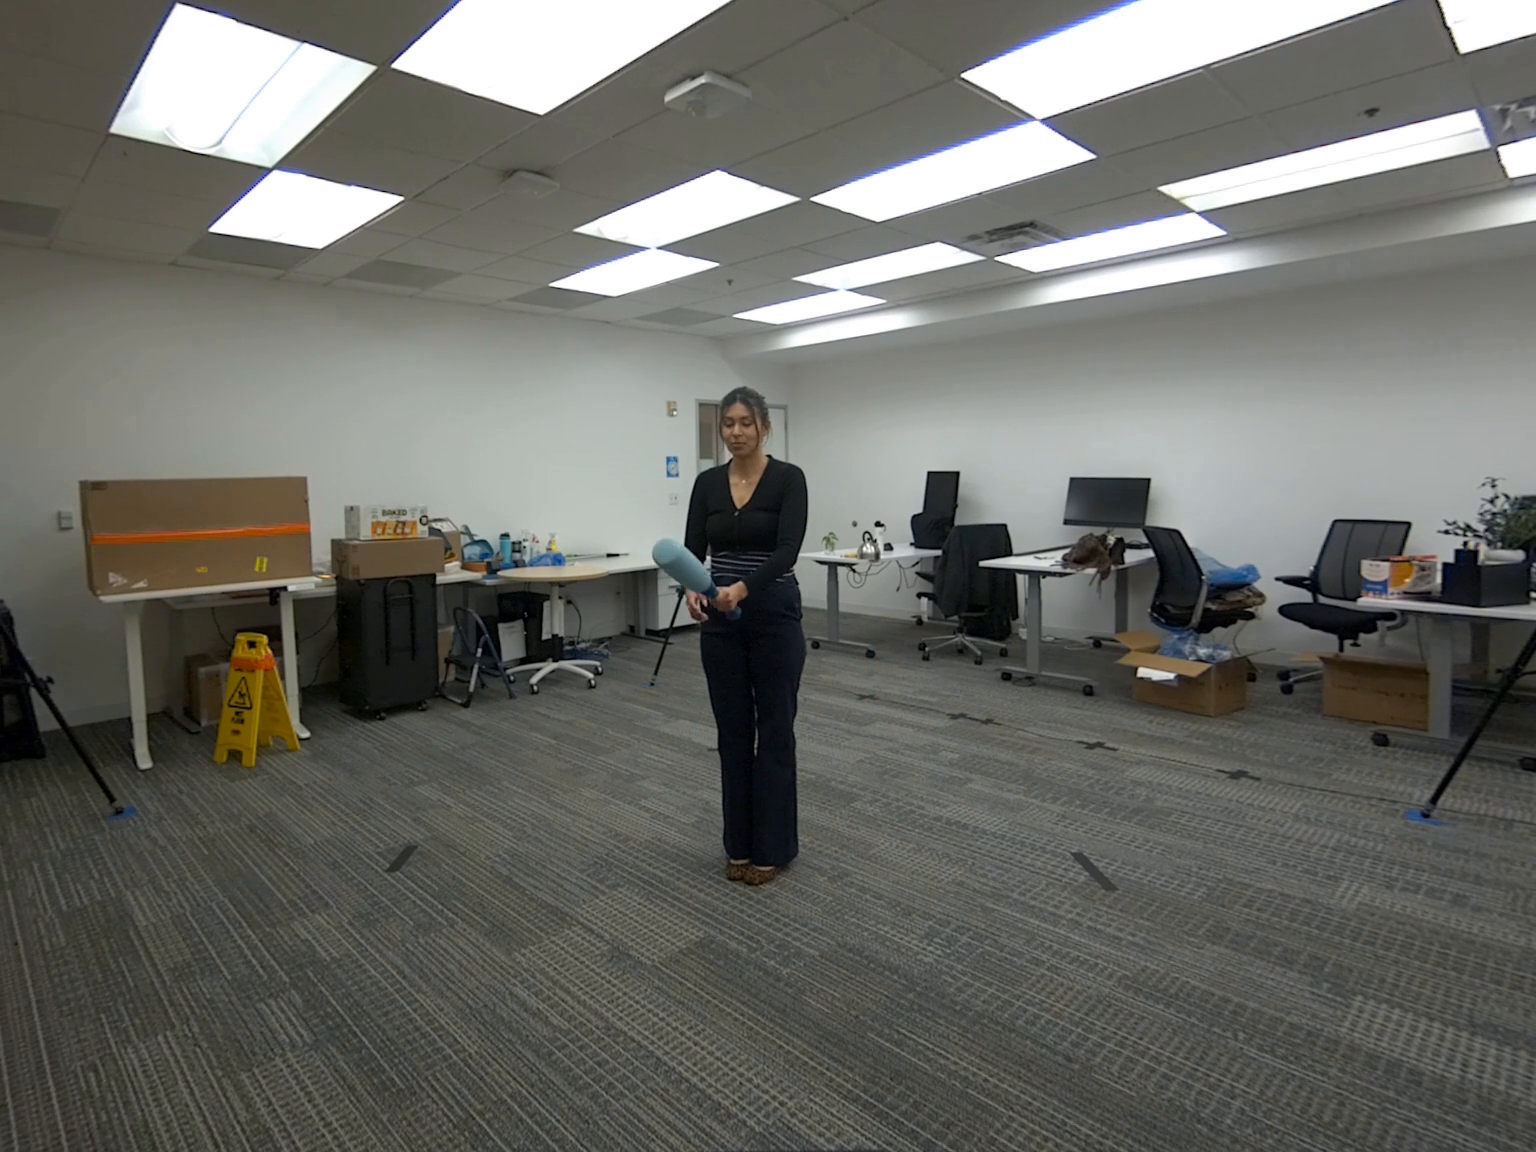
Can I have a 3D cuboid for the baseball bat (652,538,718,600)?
[{"bbox_3d":[-0.185,0.035,2.511,0.091,0.090,0.524,1,-20,20],"label":"baseball bat"}]
